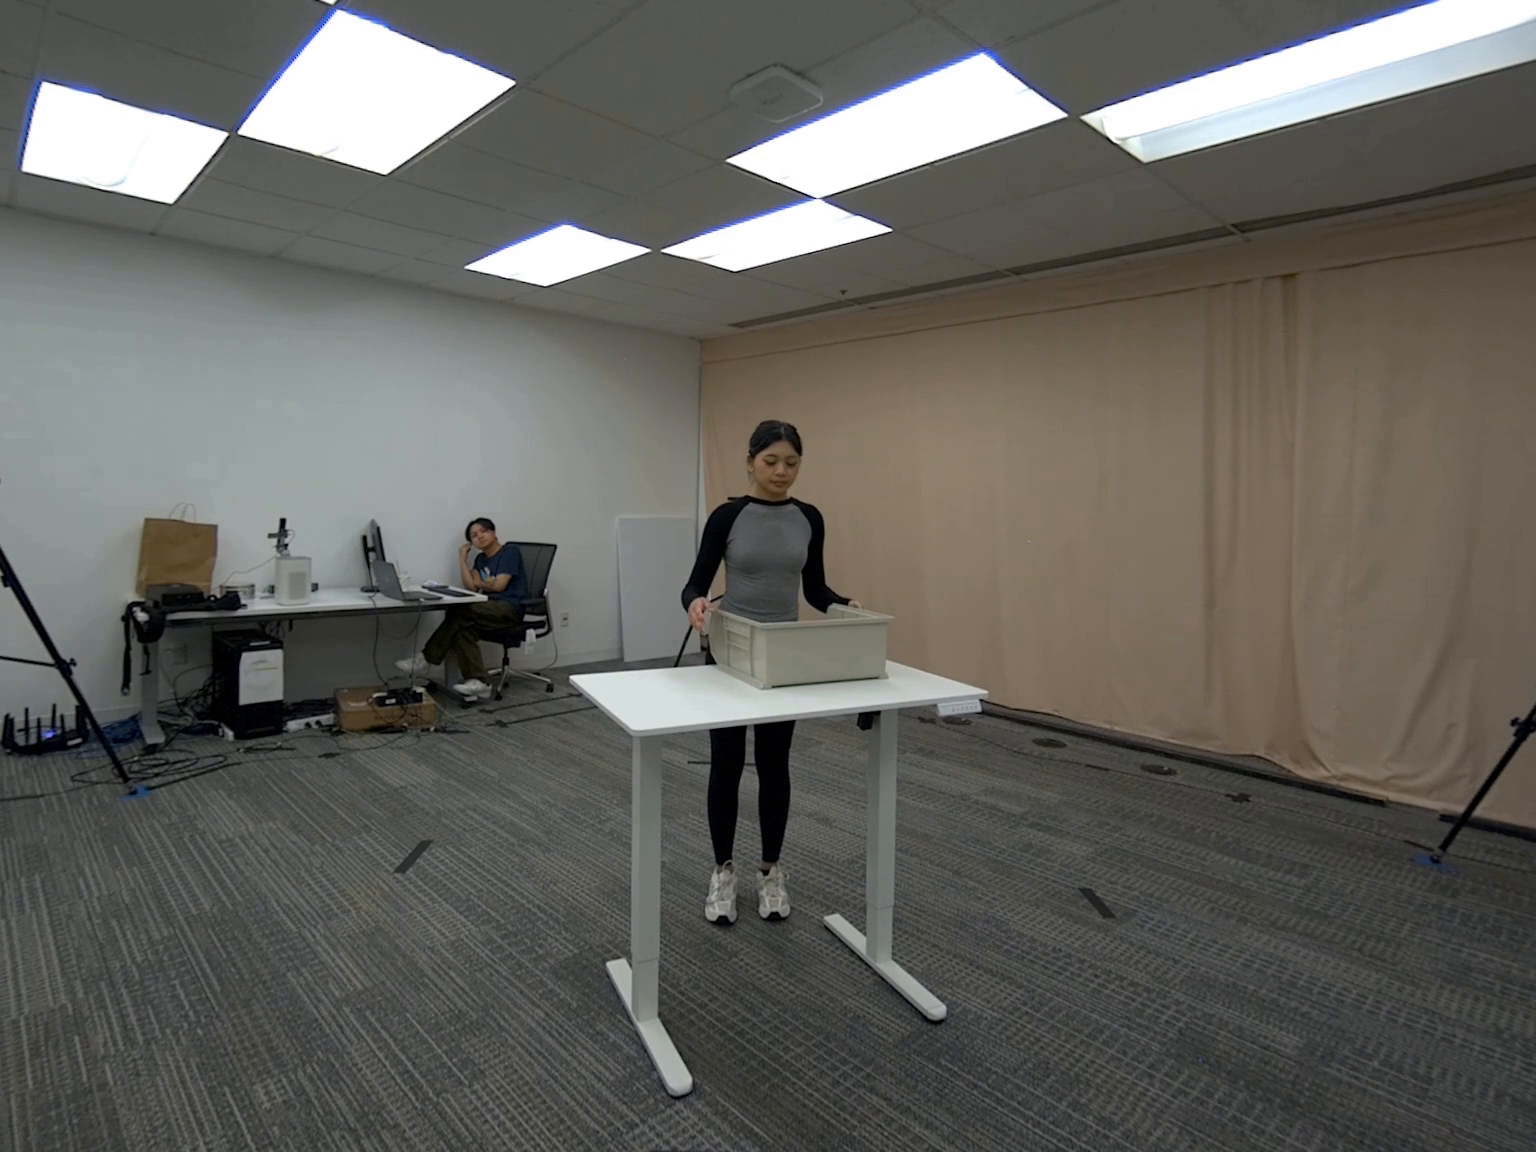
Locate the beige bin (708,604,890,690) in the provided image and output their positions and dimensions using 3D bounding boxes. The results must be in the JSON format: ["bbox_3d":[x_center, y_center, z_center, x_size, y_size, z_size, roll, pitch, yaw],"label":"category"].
[{"bbox_3d":[0.081,0.200,2.494,0.415,0.188,0.385,-1,7,-25],"label":"beige bin"}]
